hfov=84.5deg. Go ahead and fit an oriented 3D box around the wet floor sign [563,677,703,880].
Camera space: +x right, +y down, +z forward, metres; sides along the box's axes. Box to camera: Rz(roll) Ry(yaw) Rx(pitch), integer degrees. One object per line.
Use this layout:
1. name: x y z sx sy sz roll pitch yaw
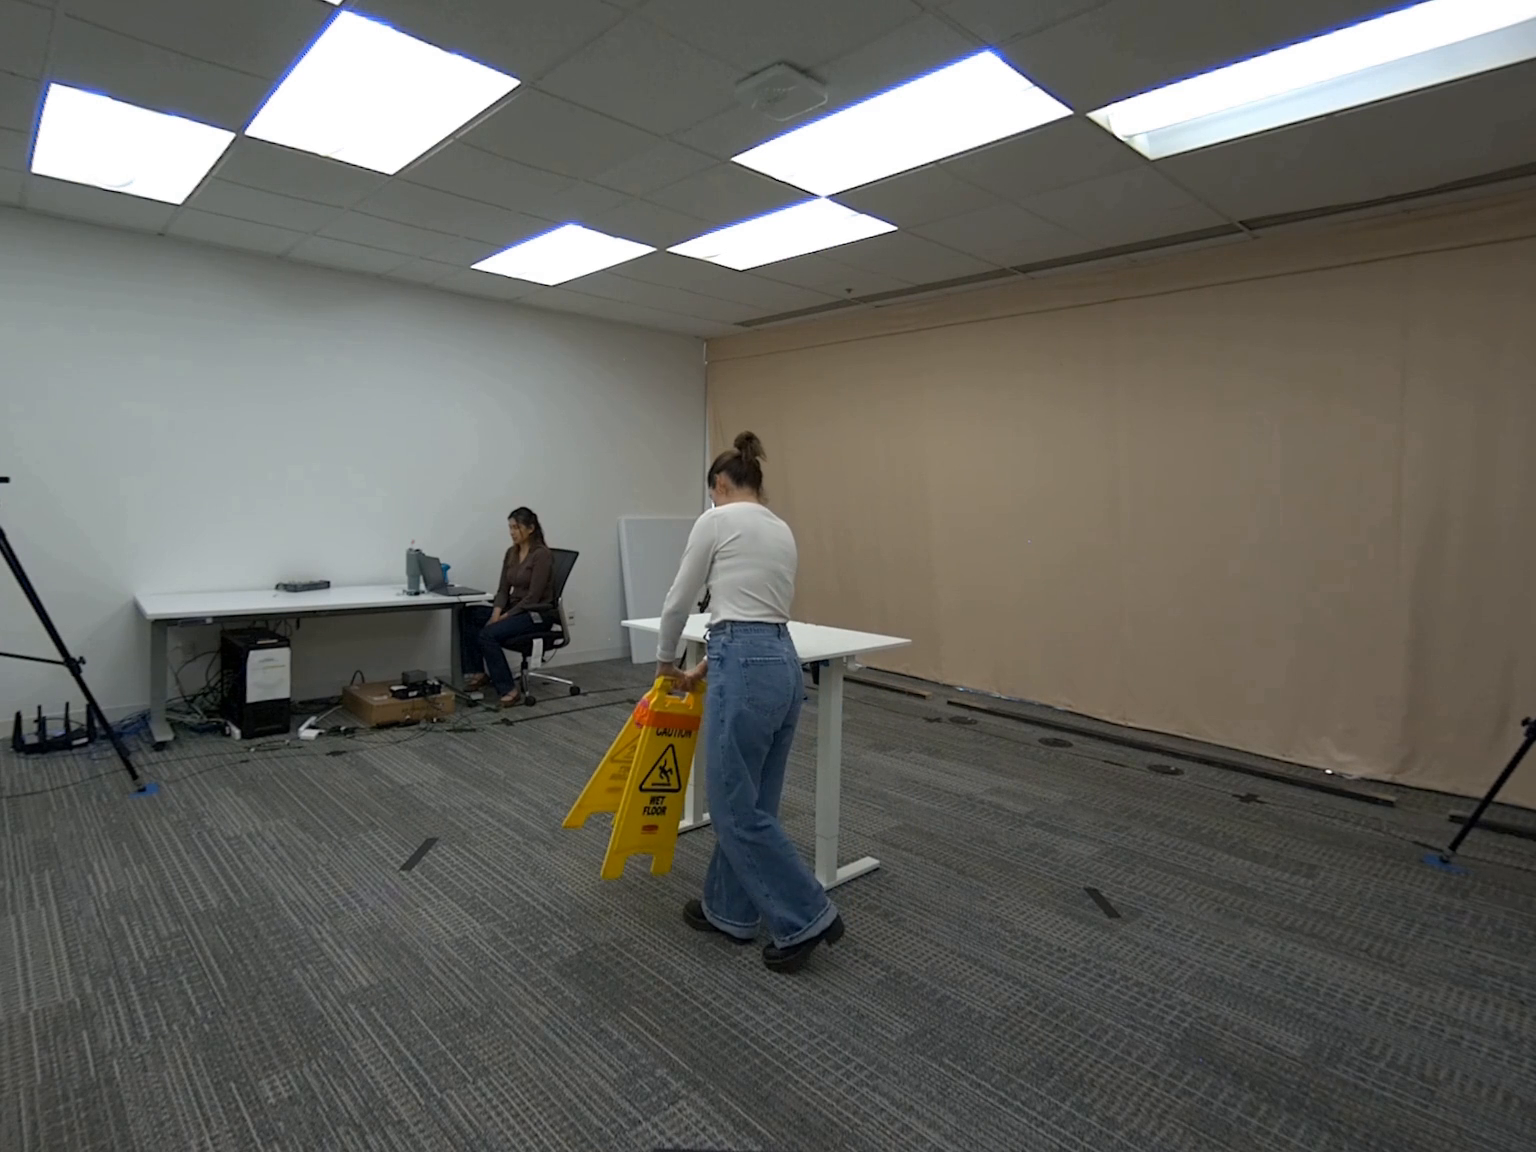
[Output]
1. wet floor sign: -0.397 0.630 2.785 0.274 0.644 0.299 14 11 -45
